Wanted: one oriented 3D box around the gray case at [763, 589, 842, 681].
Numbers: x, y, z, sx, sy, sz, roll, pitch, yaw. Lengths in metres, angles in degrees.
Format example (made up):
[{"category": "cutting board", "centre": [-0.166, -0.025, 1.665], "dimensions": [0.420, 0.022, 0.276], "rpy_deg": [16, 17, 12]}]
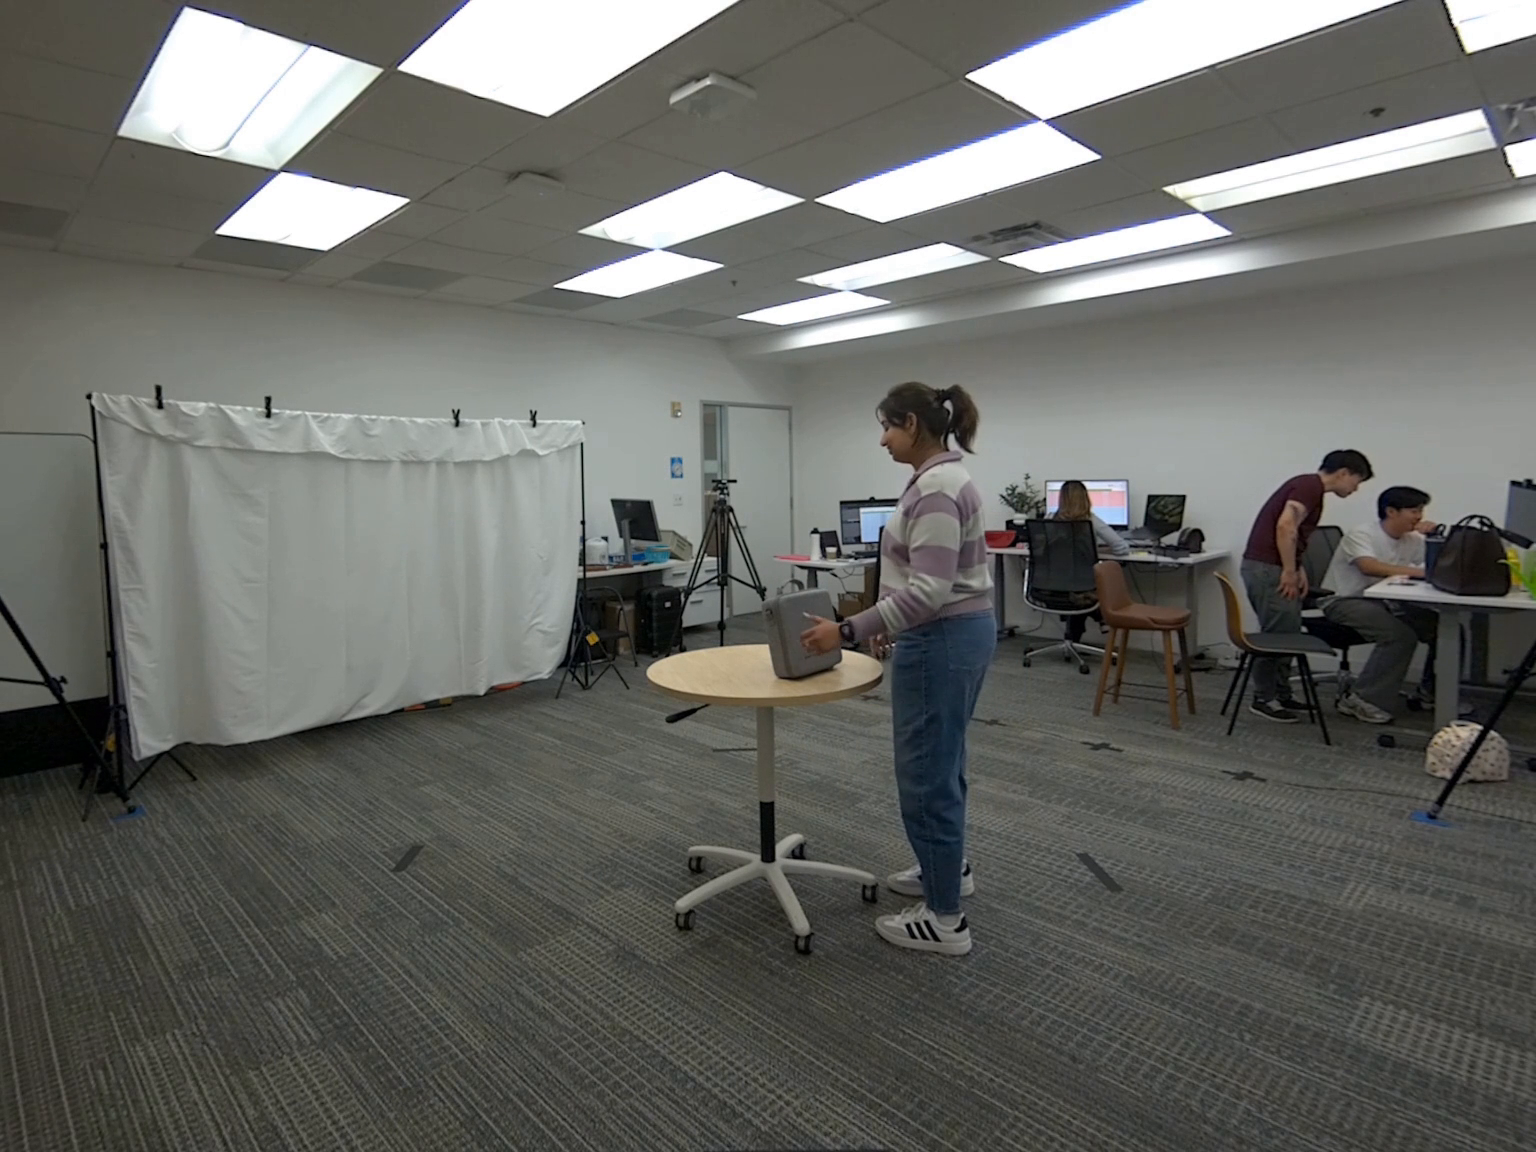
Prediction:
[{"category": "gray case", "centre": [0.112, 0.173, 2.693], "dimensions": [0.106, 0.262, 0.250], "rpy_deg": [-15, -5, 43]}]
